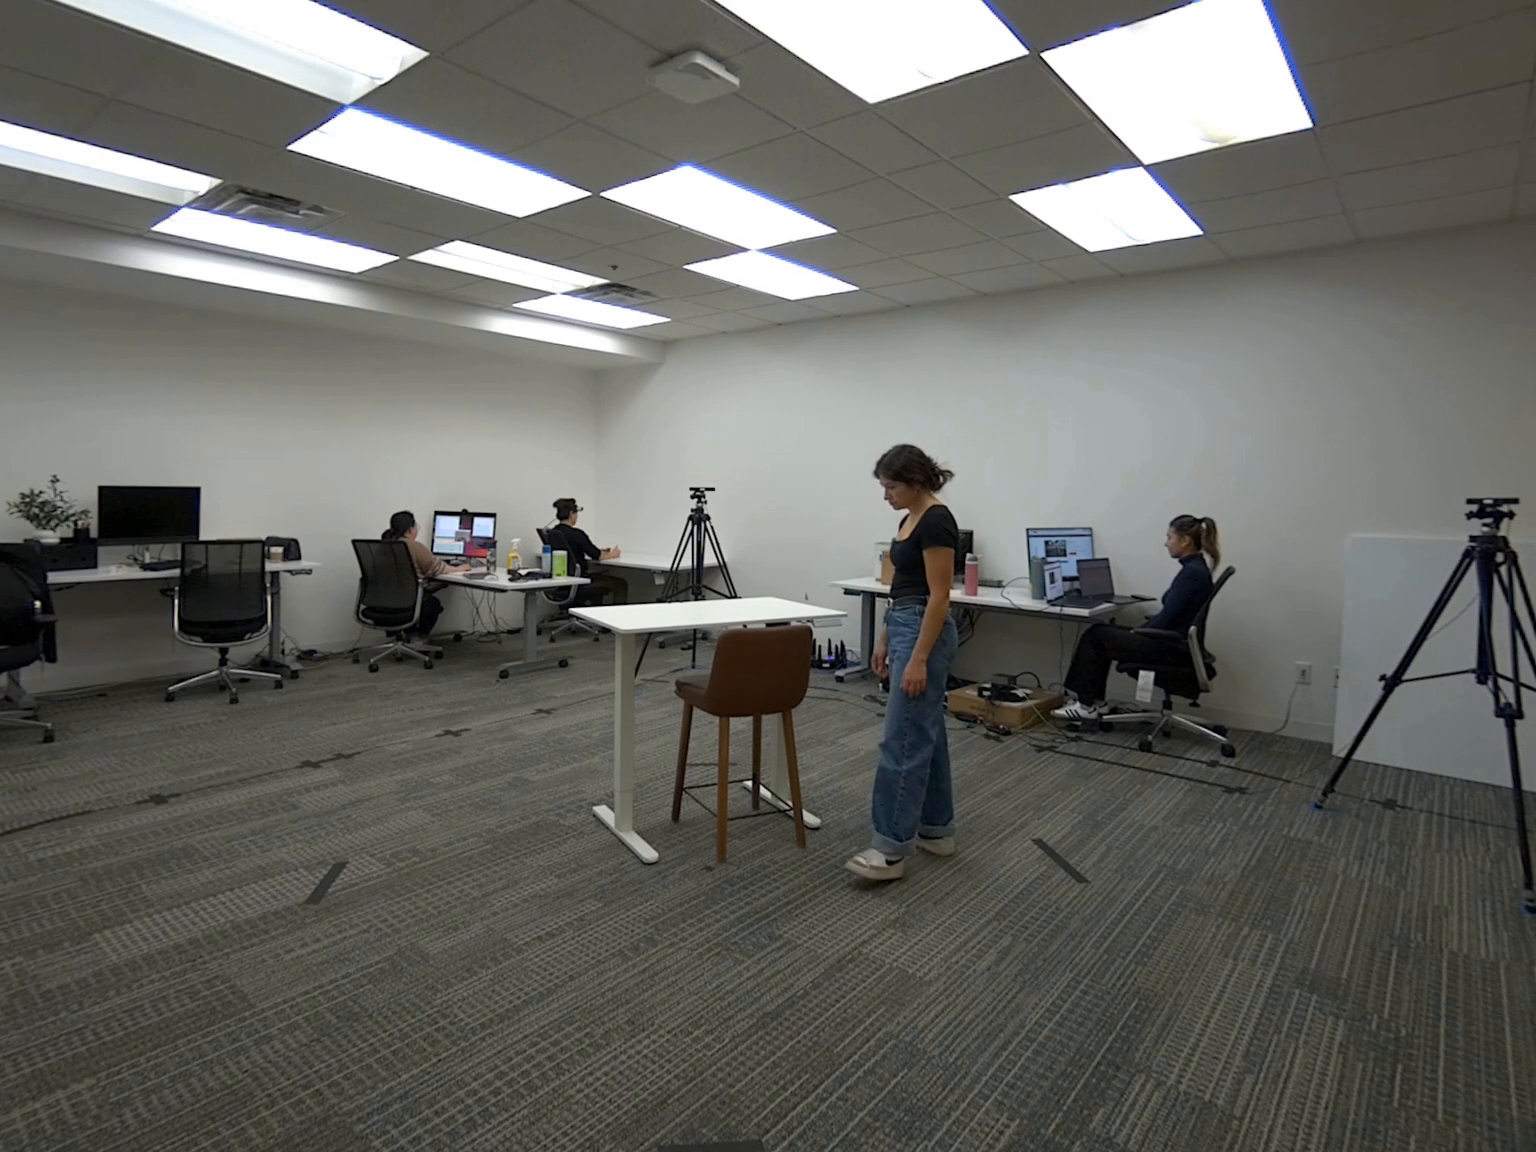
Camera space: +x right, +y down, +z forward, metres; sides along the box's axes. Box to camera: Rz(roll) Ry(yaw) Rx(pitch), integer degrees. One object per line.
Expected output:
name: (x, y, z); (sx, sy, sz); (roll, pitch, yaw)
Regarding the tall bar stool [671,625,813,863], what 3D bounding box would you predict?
tall bar stool: (-0.113, 0.612, 3.417); (0.445, 0.886, 0.481); (0, 5, -27)
